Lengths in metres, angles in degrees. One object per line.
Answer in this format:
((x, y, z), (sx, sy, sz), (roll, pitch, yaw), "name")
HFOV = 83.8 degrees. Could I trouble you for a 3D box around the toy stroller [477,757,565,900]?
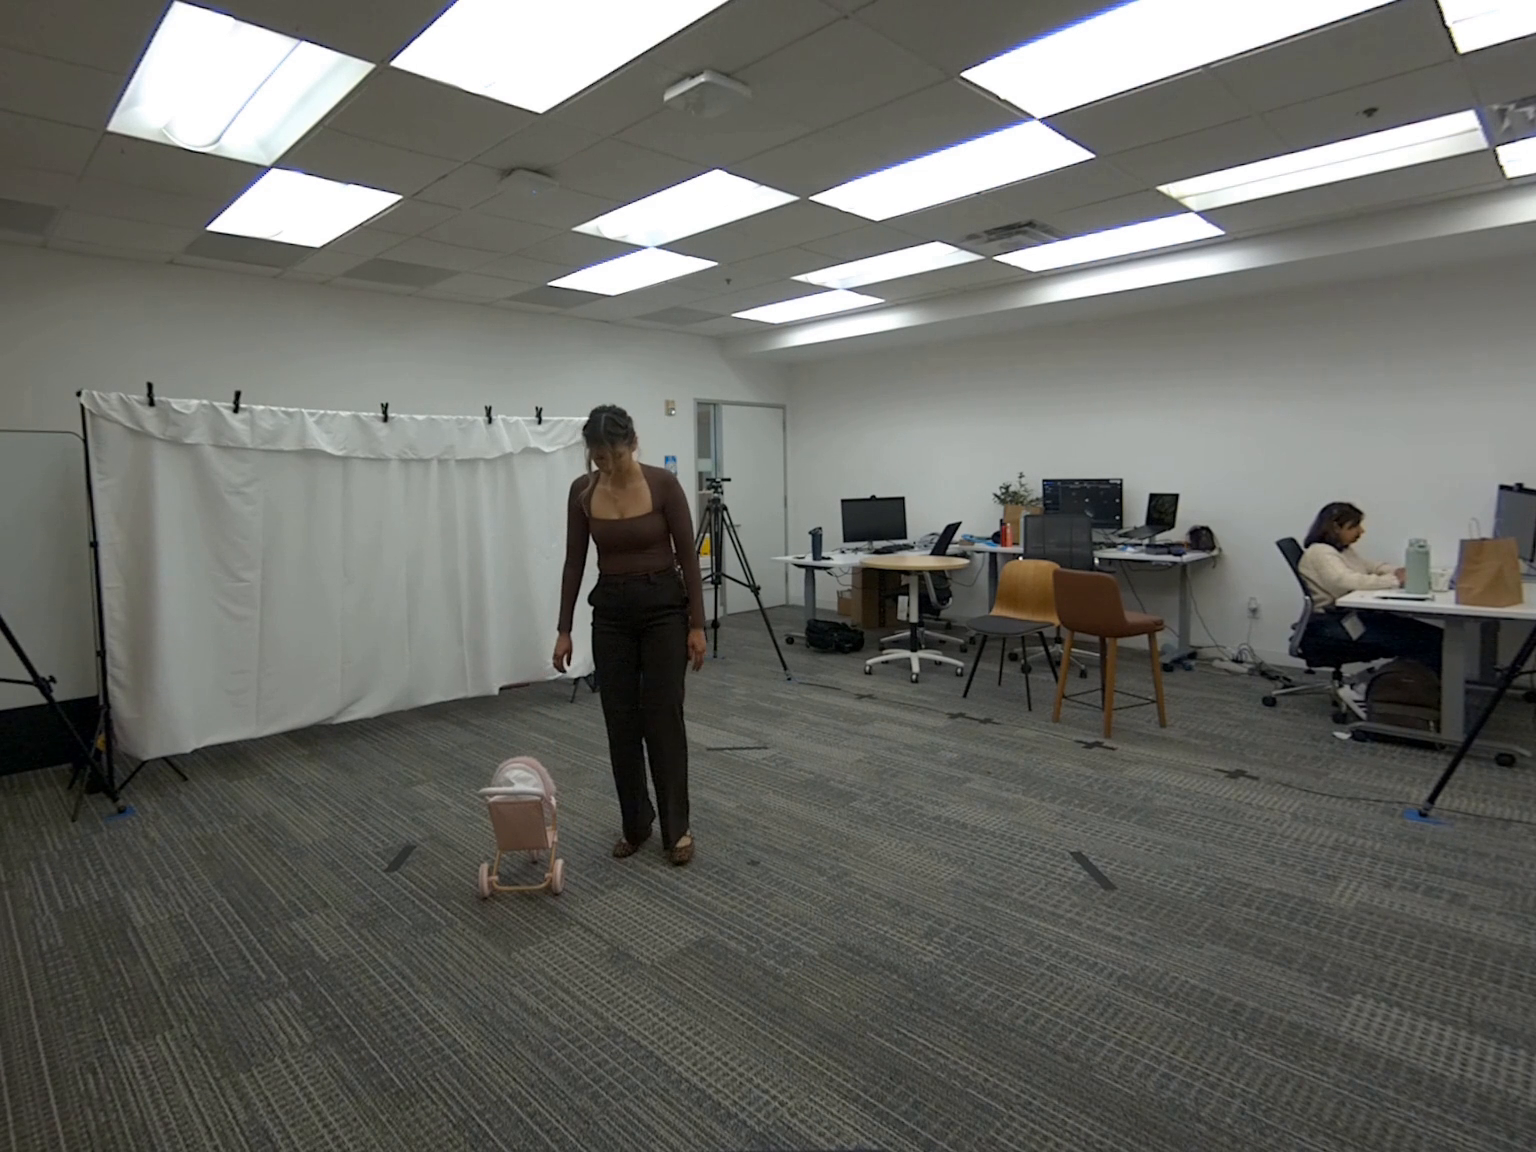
((-0.842, 0.851, 2.956), (0.281, 0.525, 0.348), (-1, 21, -1), "toy stroller")
